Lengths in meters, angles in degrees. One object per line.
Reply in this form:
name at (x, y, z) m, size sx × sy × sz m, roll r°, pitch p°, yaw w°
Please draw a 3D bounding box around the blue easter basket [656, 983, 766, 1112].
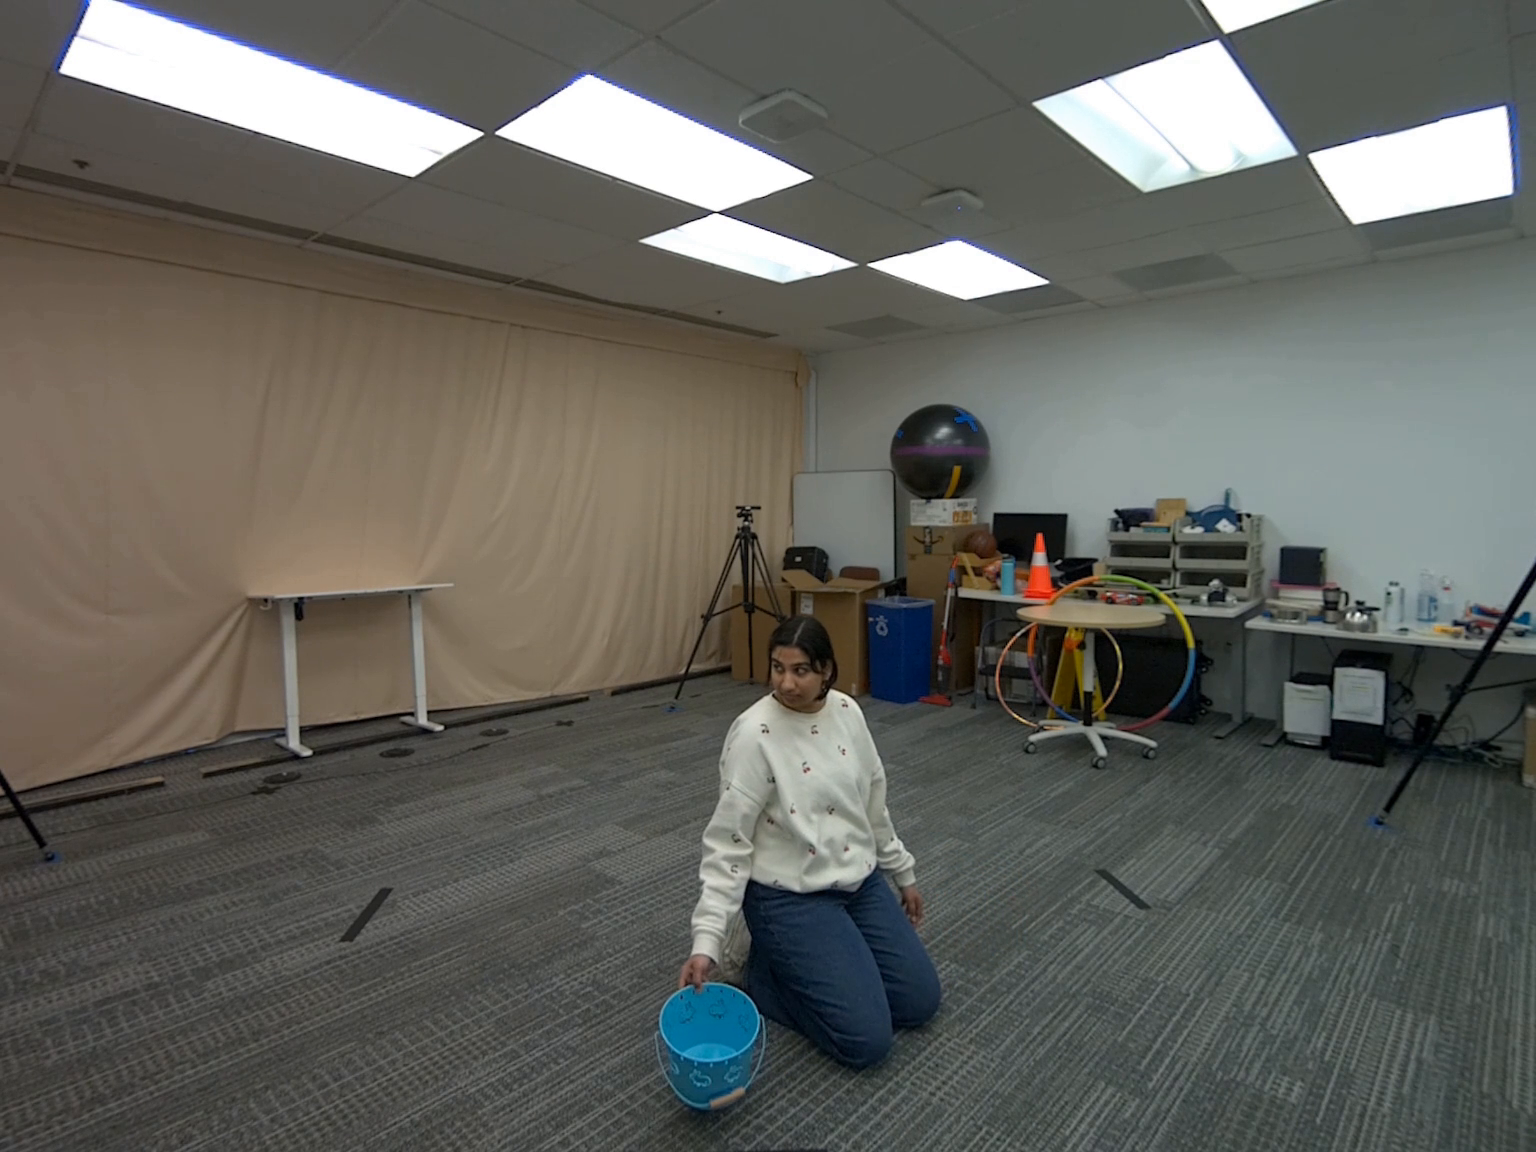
blue easter basket at (-0.129, 1.087, 1.912) m, size 0.243 × 0.154 × 0.246 m, roll -2°, pitch 12°, yaw -1°
